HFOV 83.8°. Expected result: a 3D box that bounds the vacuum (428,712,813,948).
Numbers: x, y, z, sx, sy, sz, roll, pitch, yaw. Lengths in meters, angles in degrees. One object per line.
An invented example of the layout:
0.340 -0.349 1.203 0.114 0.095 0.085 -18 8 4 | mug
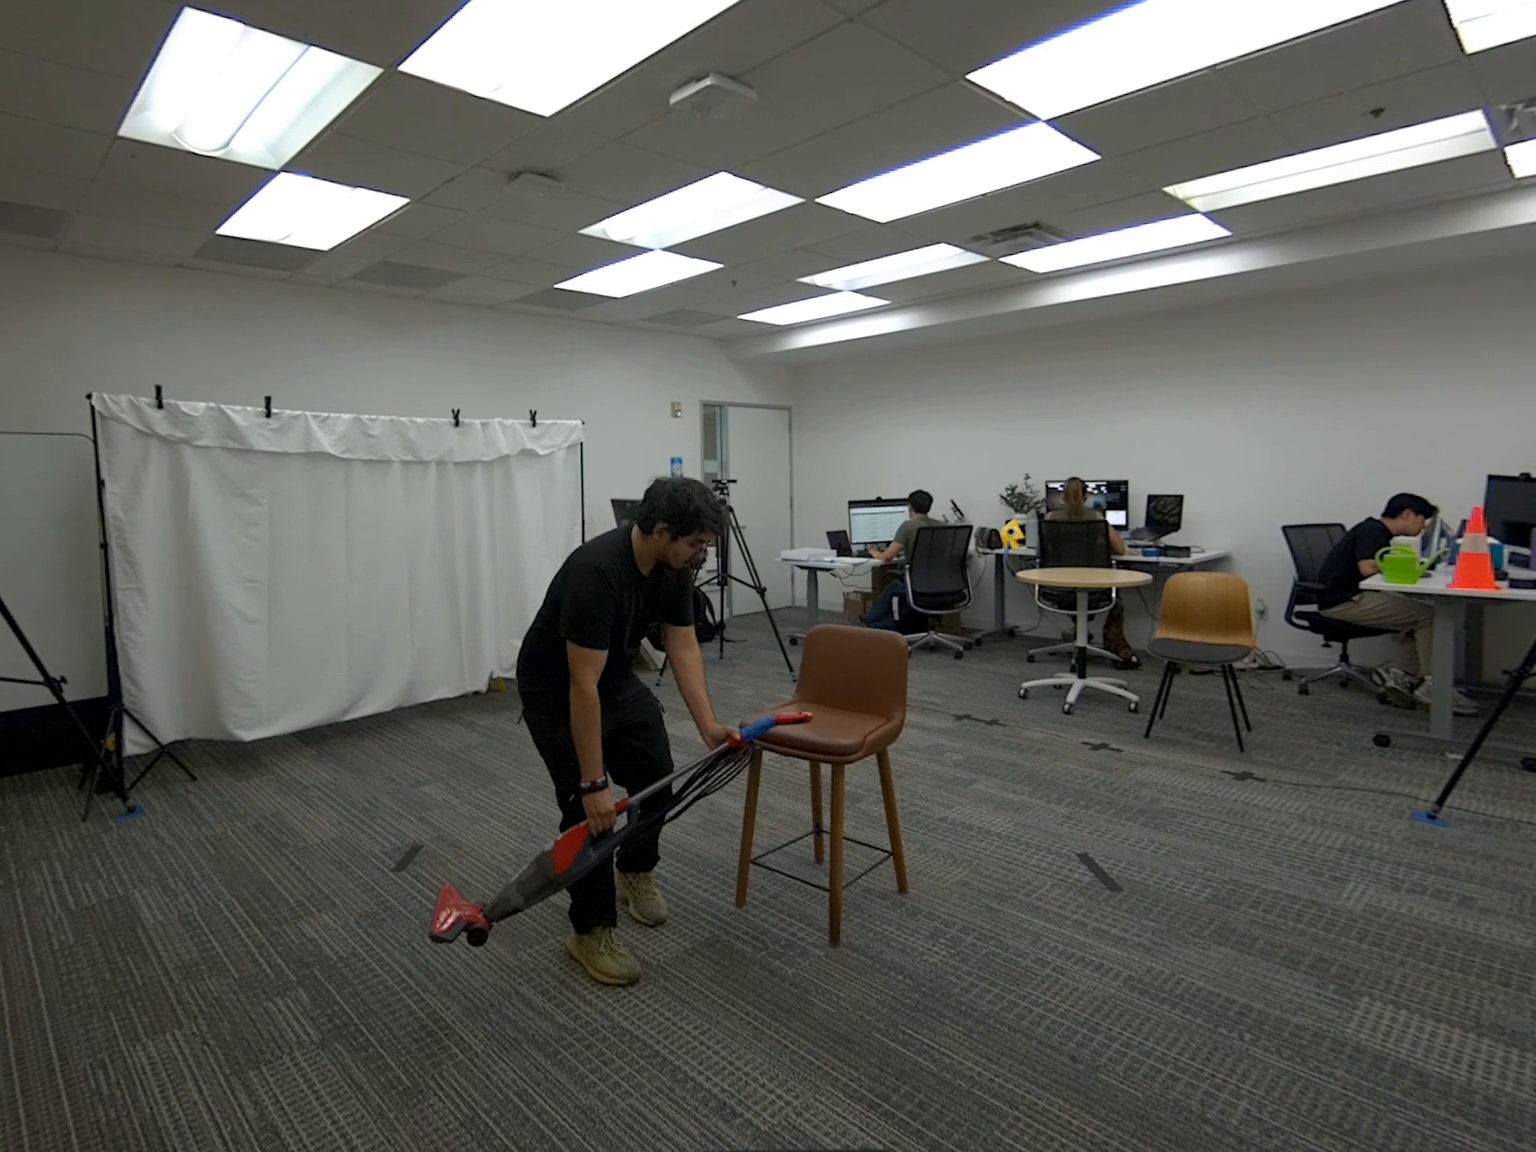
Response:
-0.360 0.652 2.245 1.045 0.141 0.258 -29 17 -9 | vacuum
